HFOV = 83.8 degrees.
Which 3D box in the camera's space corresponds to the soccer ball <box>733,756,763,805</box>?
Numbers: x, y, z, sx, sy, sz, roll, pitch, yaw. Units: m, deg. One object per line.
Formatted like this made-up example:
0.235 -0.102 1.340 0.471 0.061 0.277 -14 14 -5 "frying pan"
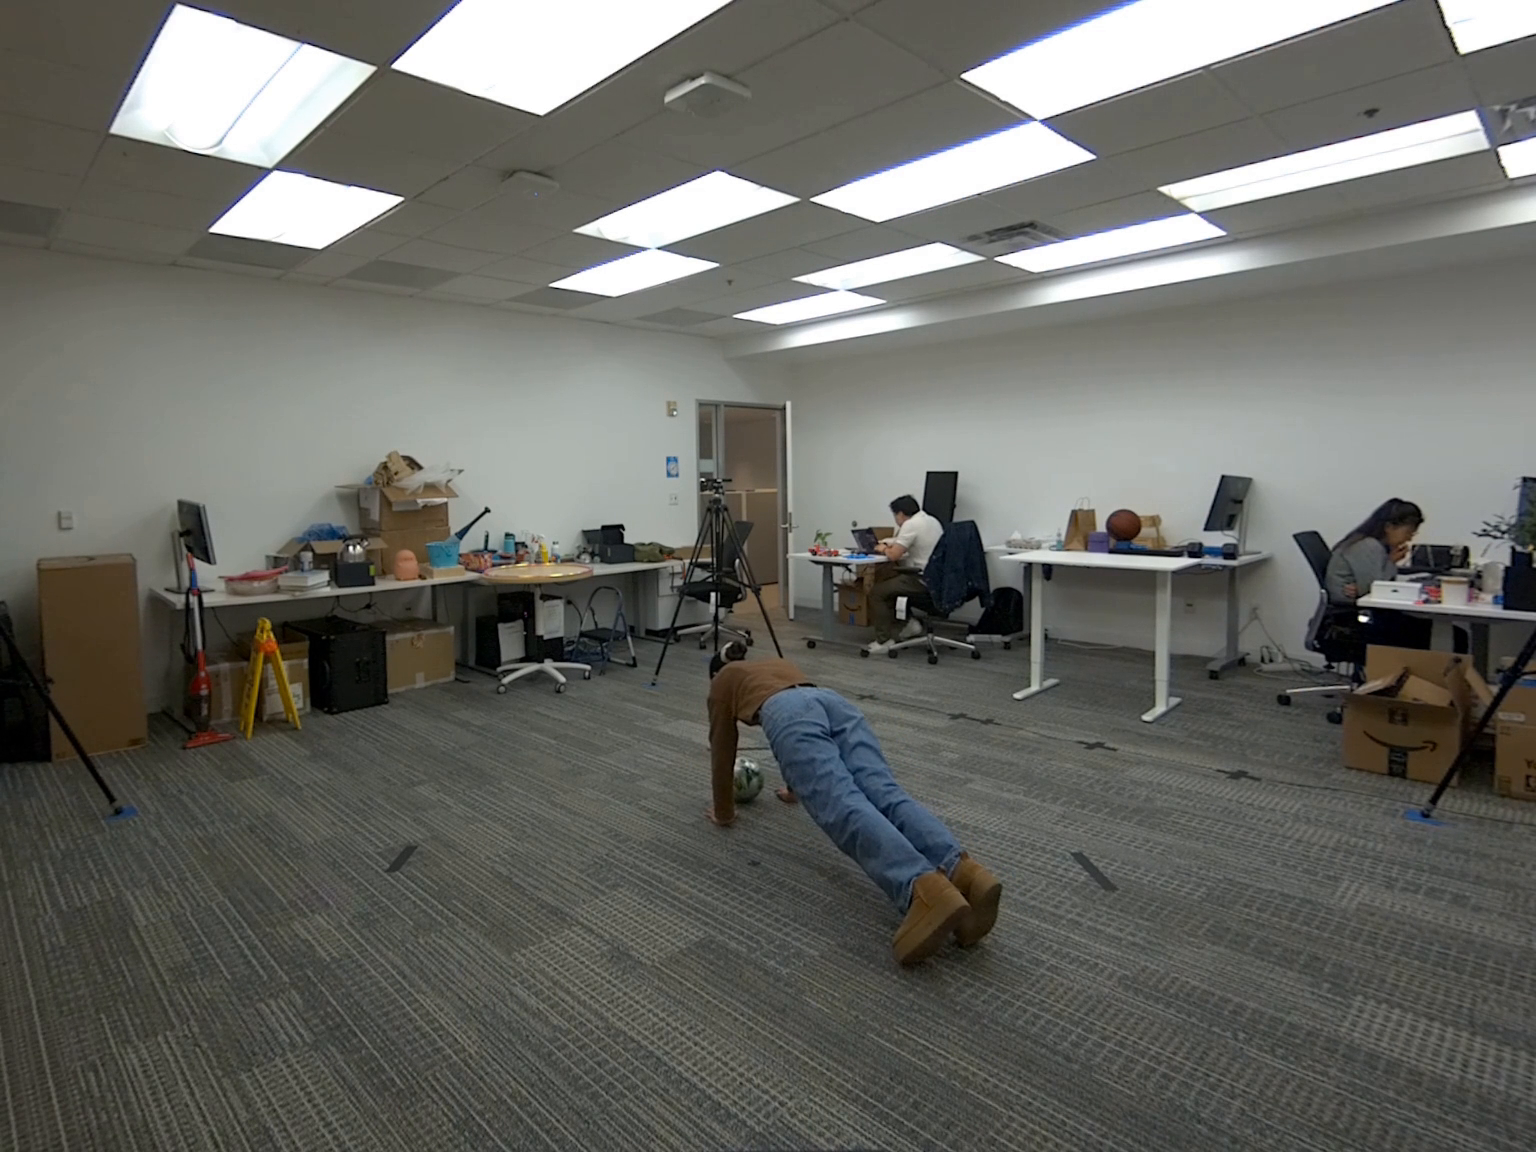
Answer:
-0.108 0.889 3.722 0.187 0.187 0.188 -1 5 -2 "soccer ball"
